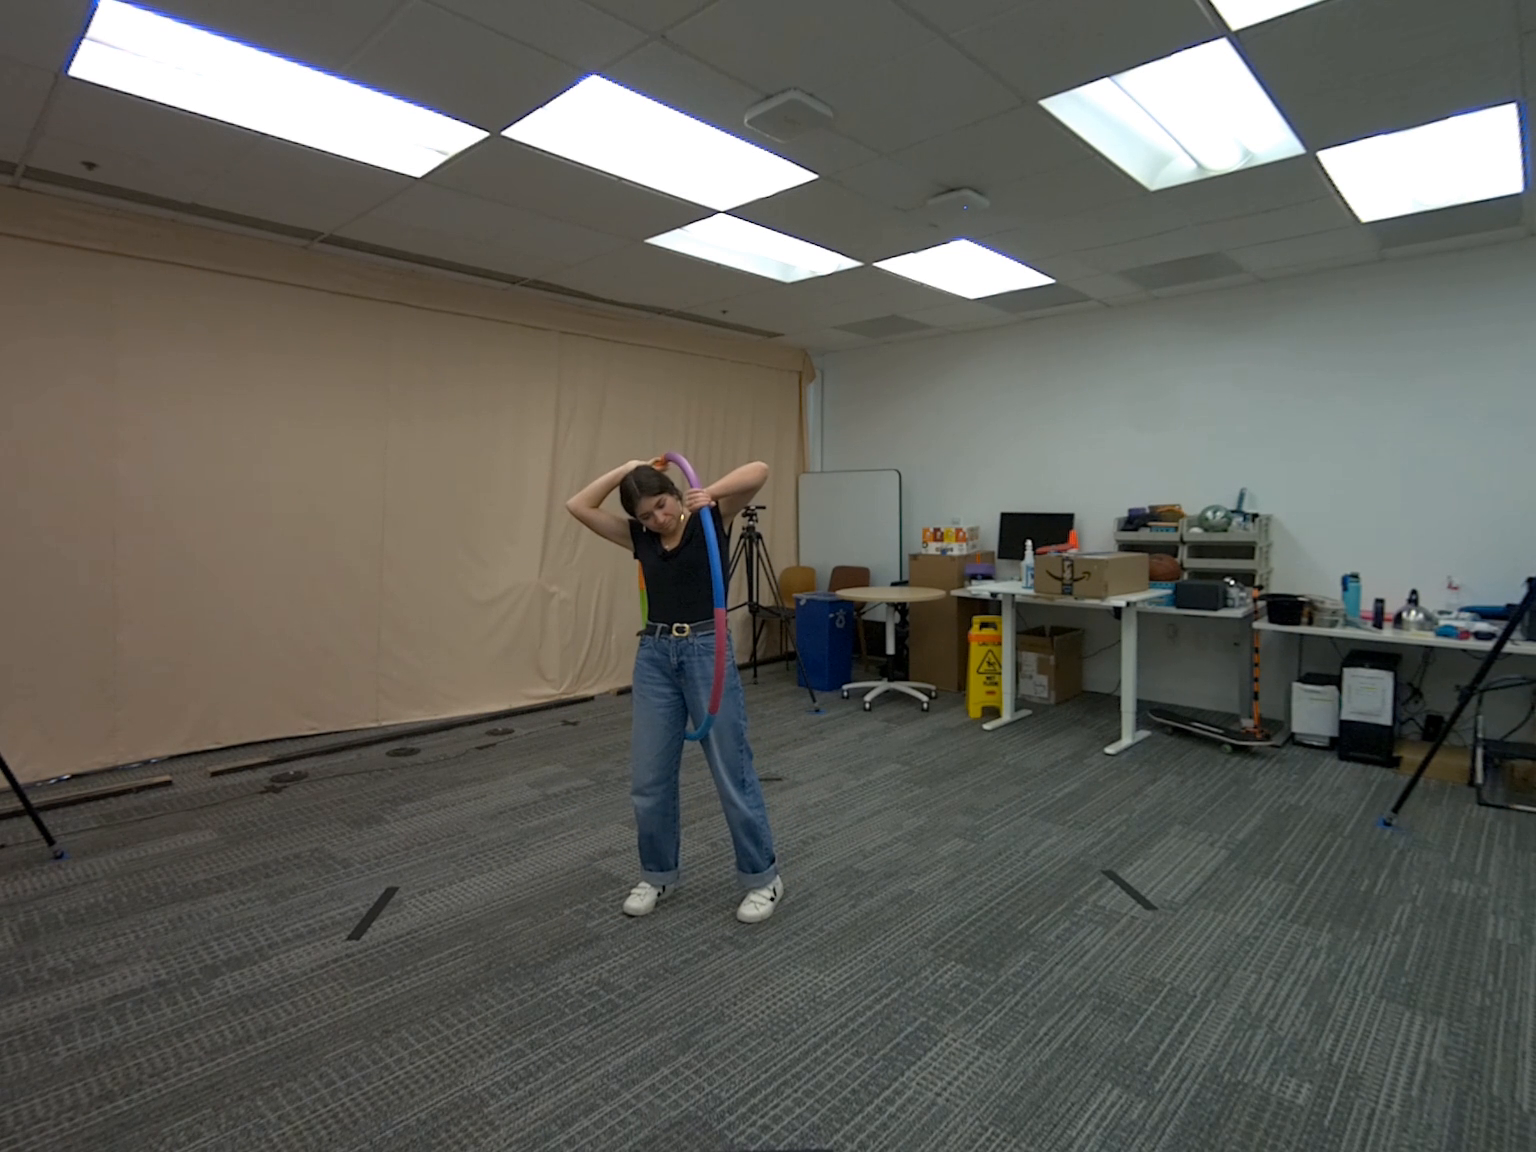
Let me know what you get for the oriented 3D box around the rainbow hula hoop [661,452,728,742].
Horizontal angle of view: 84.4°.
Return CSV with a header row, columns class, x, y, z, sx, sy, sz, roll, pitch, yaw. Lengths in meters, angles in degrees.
class,x,y,z,sx,sy,sz,roll,pitch,yaw
rainbow hula hoop,-0.314,0.062,2.932,0.035,0.976,1.001,-3,5,-21
